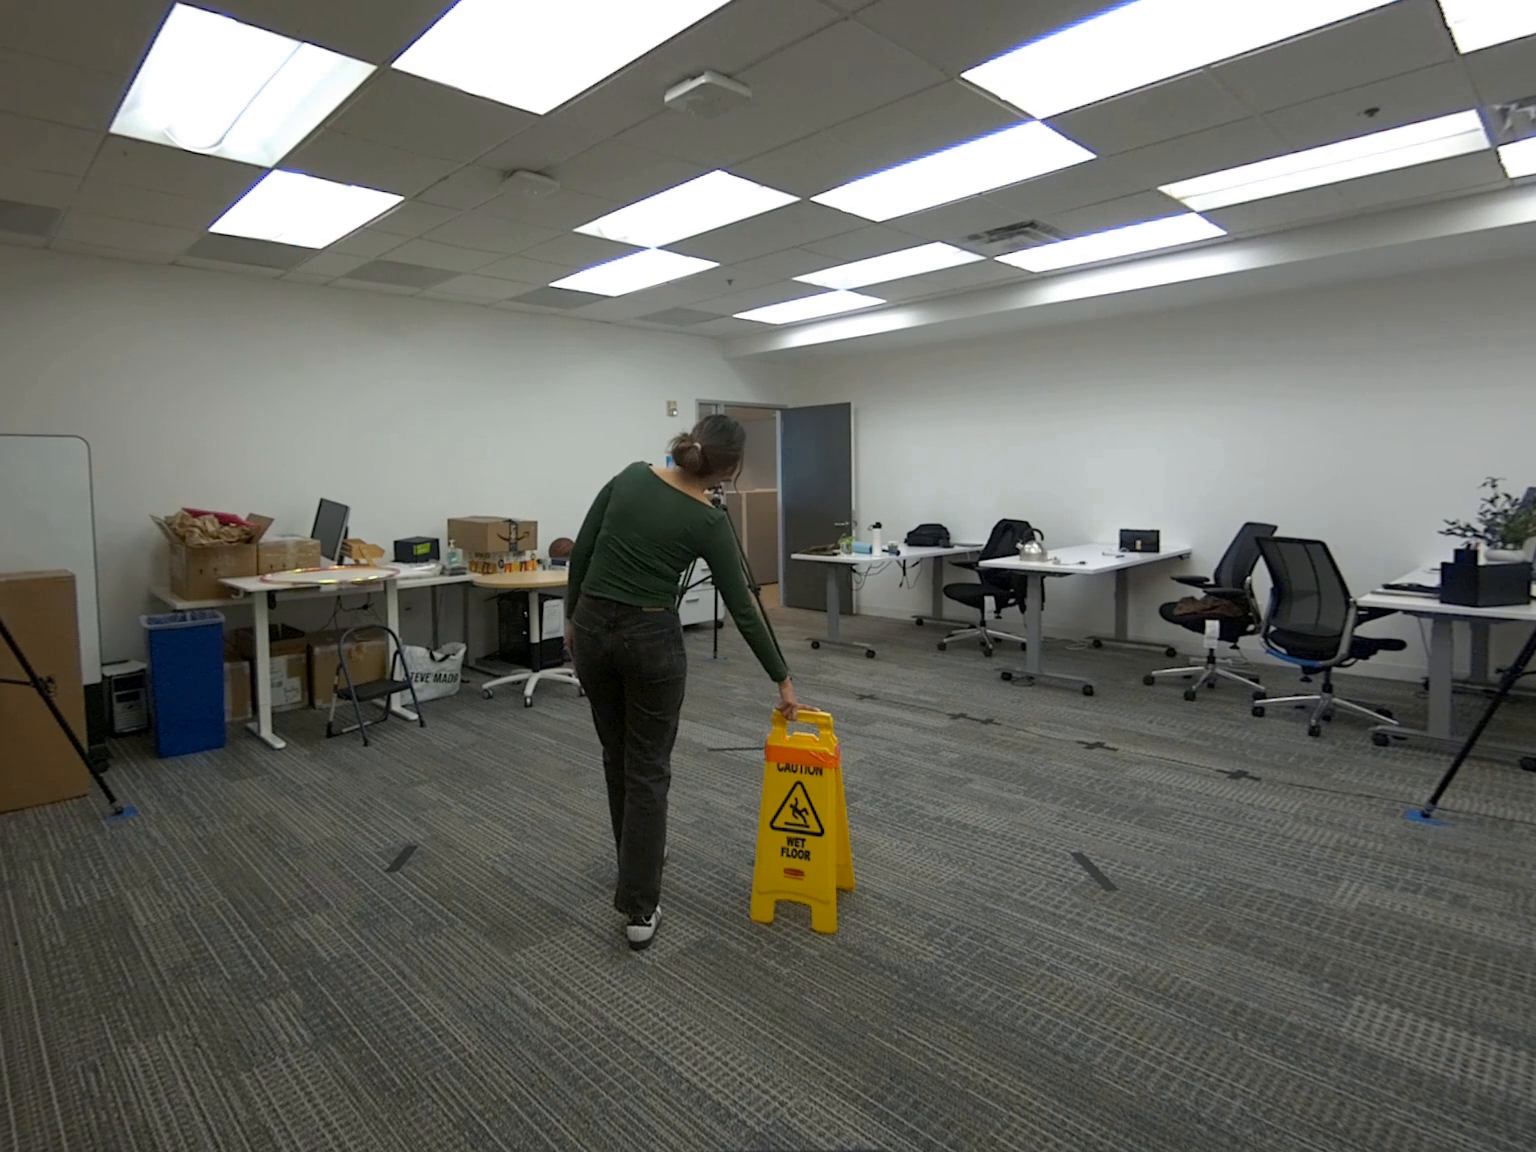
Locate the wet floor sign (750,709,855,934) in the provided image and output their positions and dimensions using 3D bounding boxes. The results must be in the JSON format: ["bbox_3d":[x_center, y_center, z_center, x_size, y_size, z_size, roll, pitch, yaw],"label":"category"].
[{"bbox_3d":[0.114,0.750,2.784,0.287,0.644,0.285,1,4,19],"label":"wet floor sign"}]
